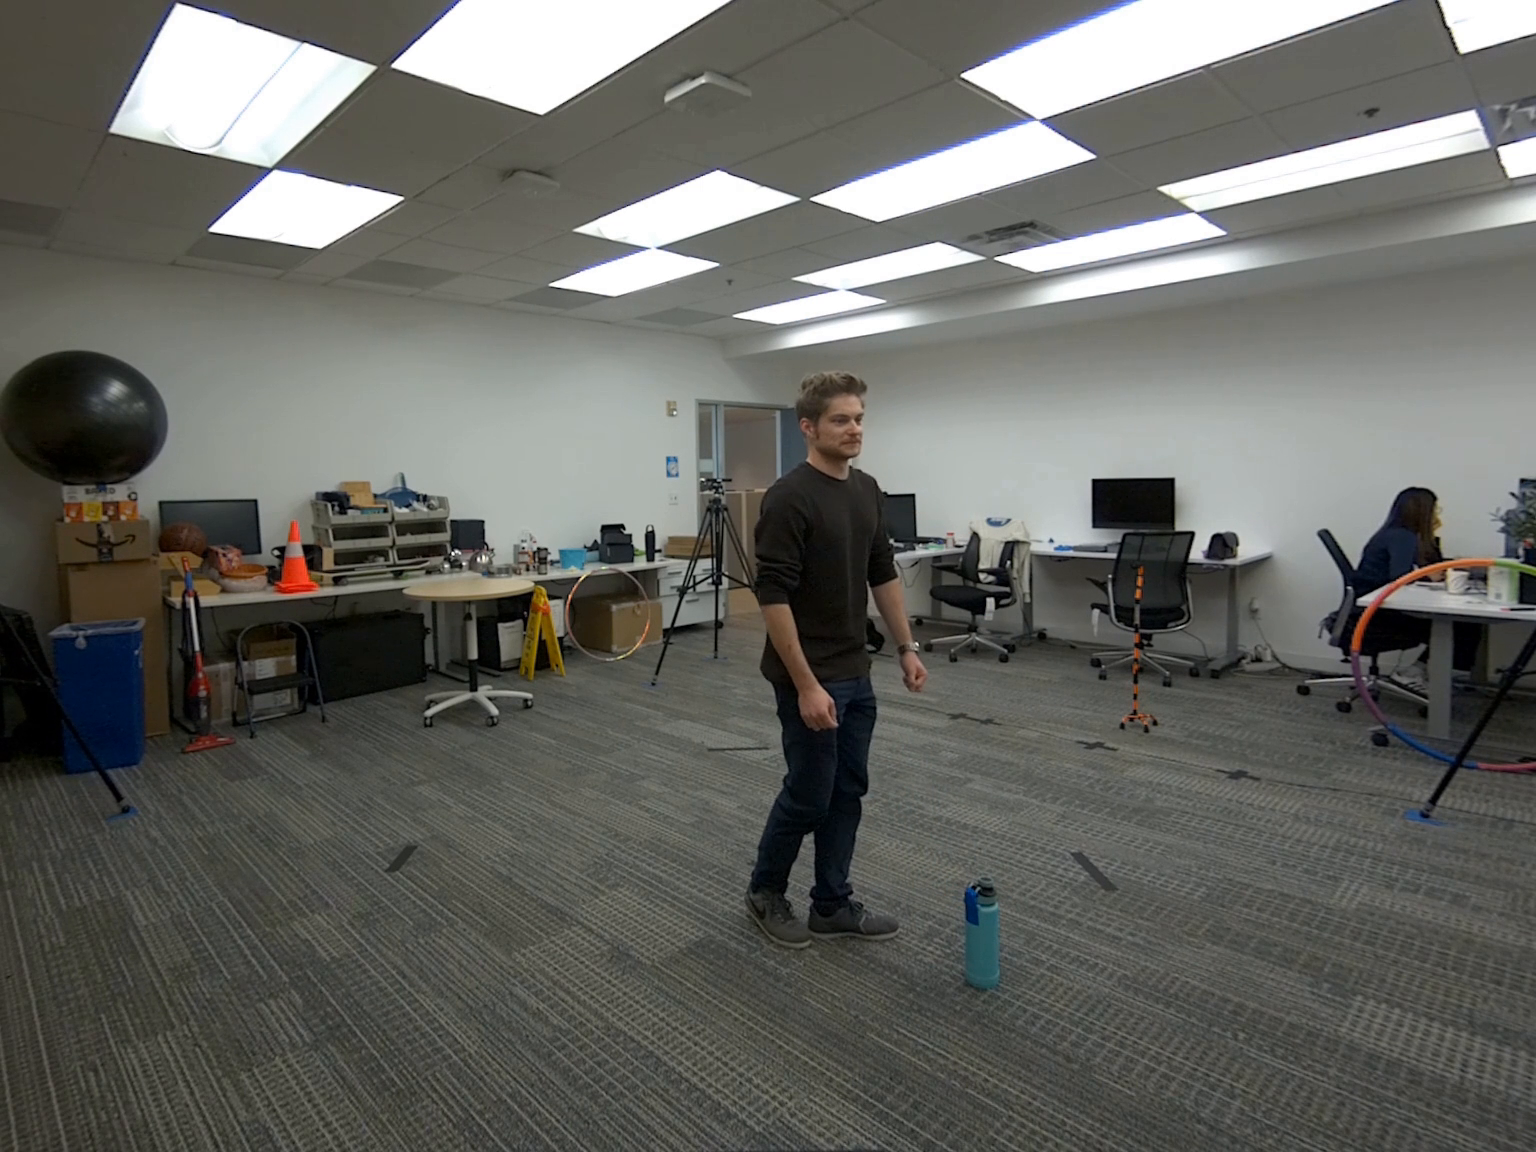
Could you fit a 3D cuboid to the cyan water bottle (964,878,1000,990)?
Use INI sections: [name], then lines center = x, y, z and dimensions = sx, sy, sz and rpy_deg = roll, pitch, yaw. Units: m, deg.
[cyan water bottle]
center = 0.598, 0.981, 2.351
dimensions = 0.092, 0.282, 0.093
rpy_deg = -2, 4, -2
